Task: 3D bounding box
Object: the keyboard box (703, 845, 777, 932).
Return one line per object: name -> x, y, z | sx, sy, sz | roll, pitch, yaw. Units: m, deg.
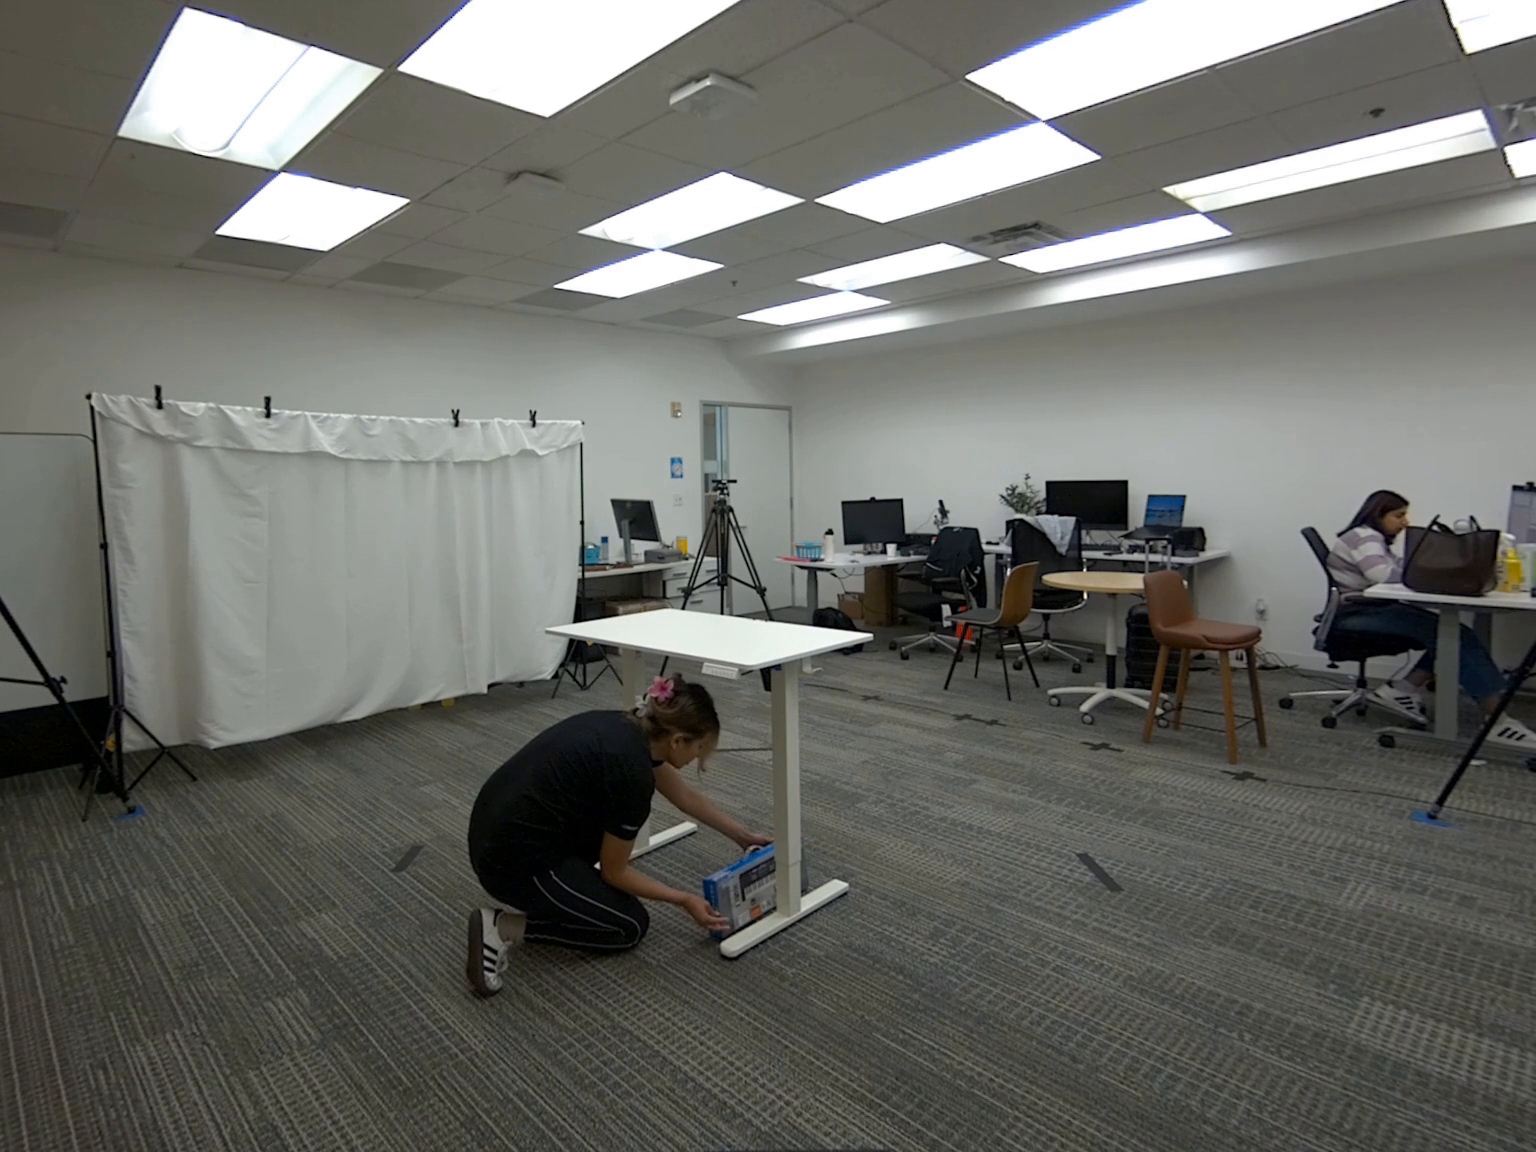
keyboard box -> -0.024, 0.998, 2.772 | 0.060, 0.176, 0.426 | -11, -1, 41
